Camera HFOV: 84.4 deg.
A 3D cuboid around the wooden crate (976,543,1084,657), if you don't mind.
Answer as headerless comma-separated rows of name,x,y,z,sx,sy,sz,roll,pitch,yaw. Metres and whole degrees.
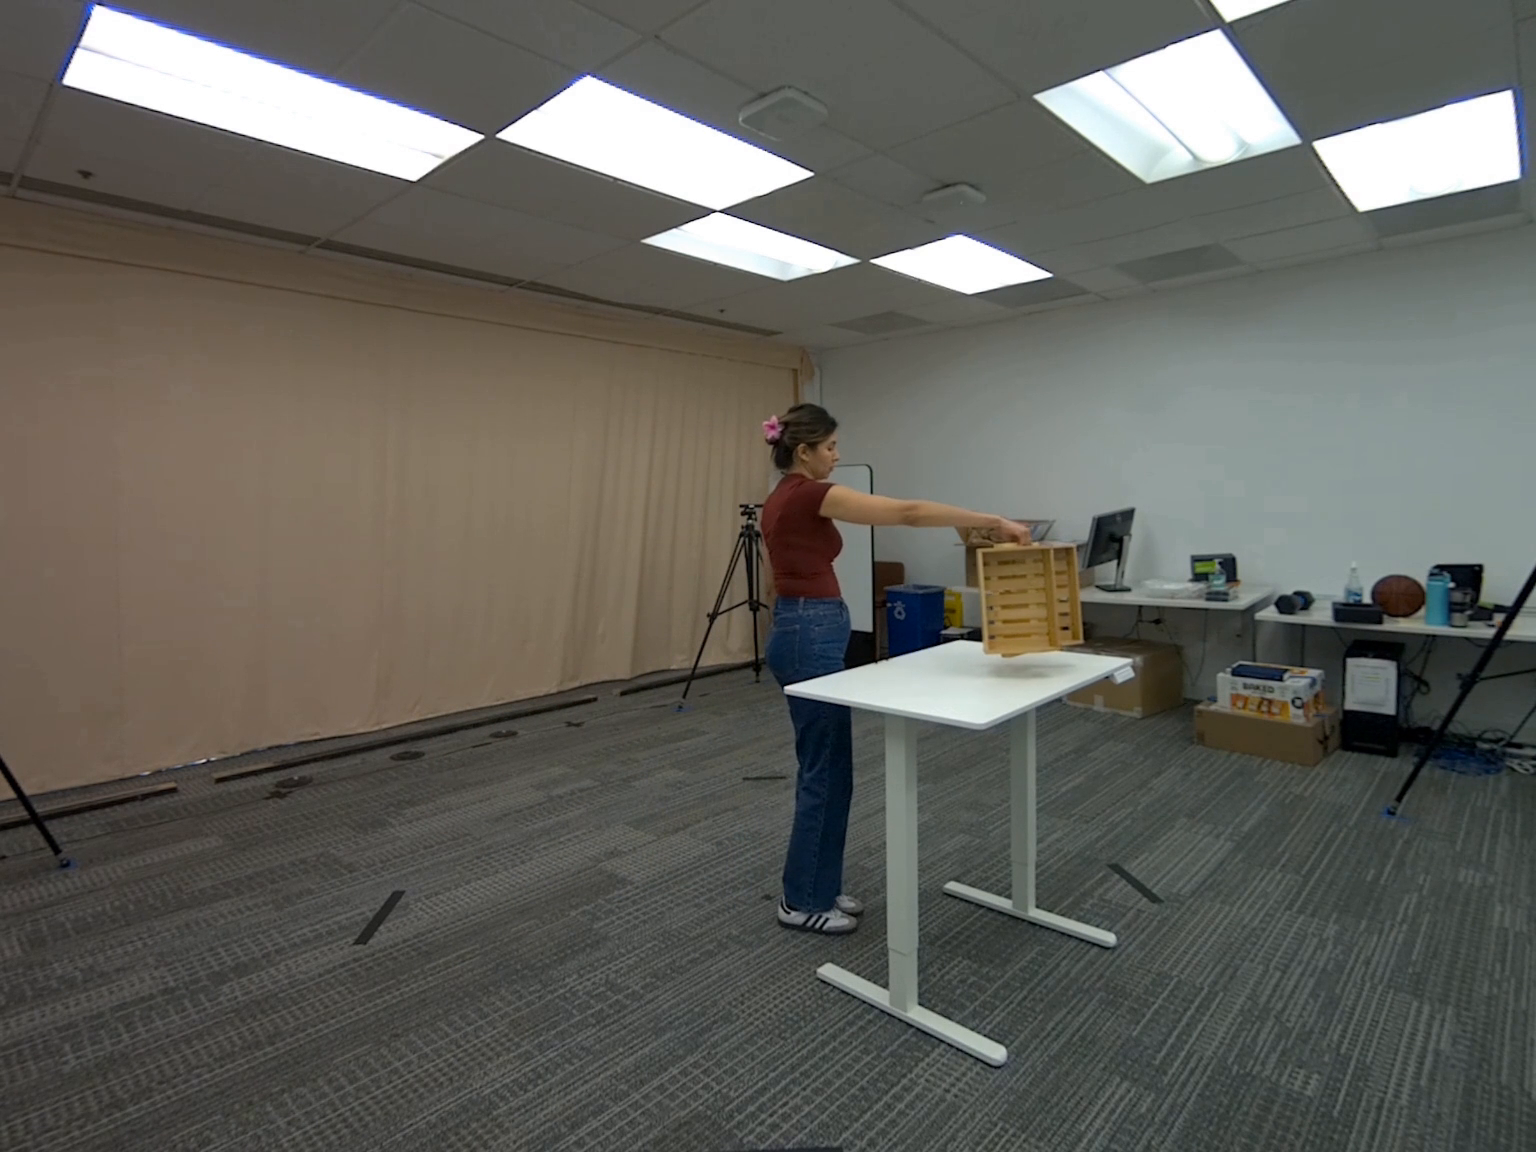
wooden crate,0.789,0.065,2.485,0.306,0.325,0.269,-4,-1,13
